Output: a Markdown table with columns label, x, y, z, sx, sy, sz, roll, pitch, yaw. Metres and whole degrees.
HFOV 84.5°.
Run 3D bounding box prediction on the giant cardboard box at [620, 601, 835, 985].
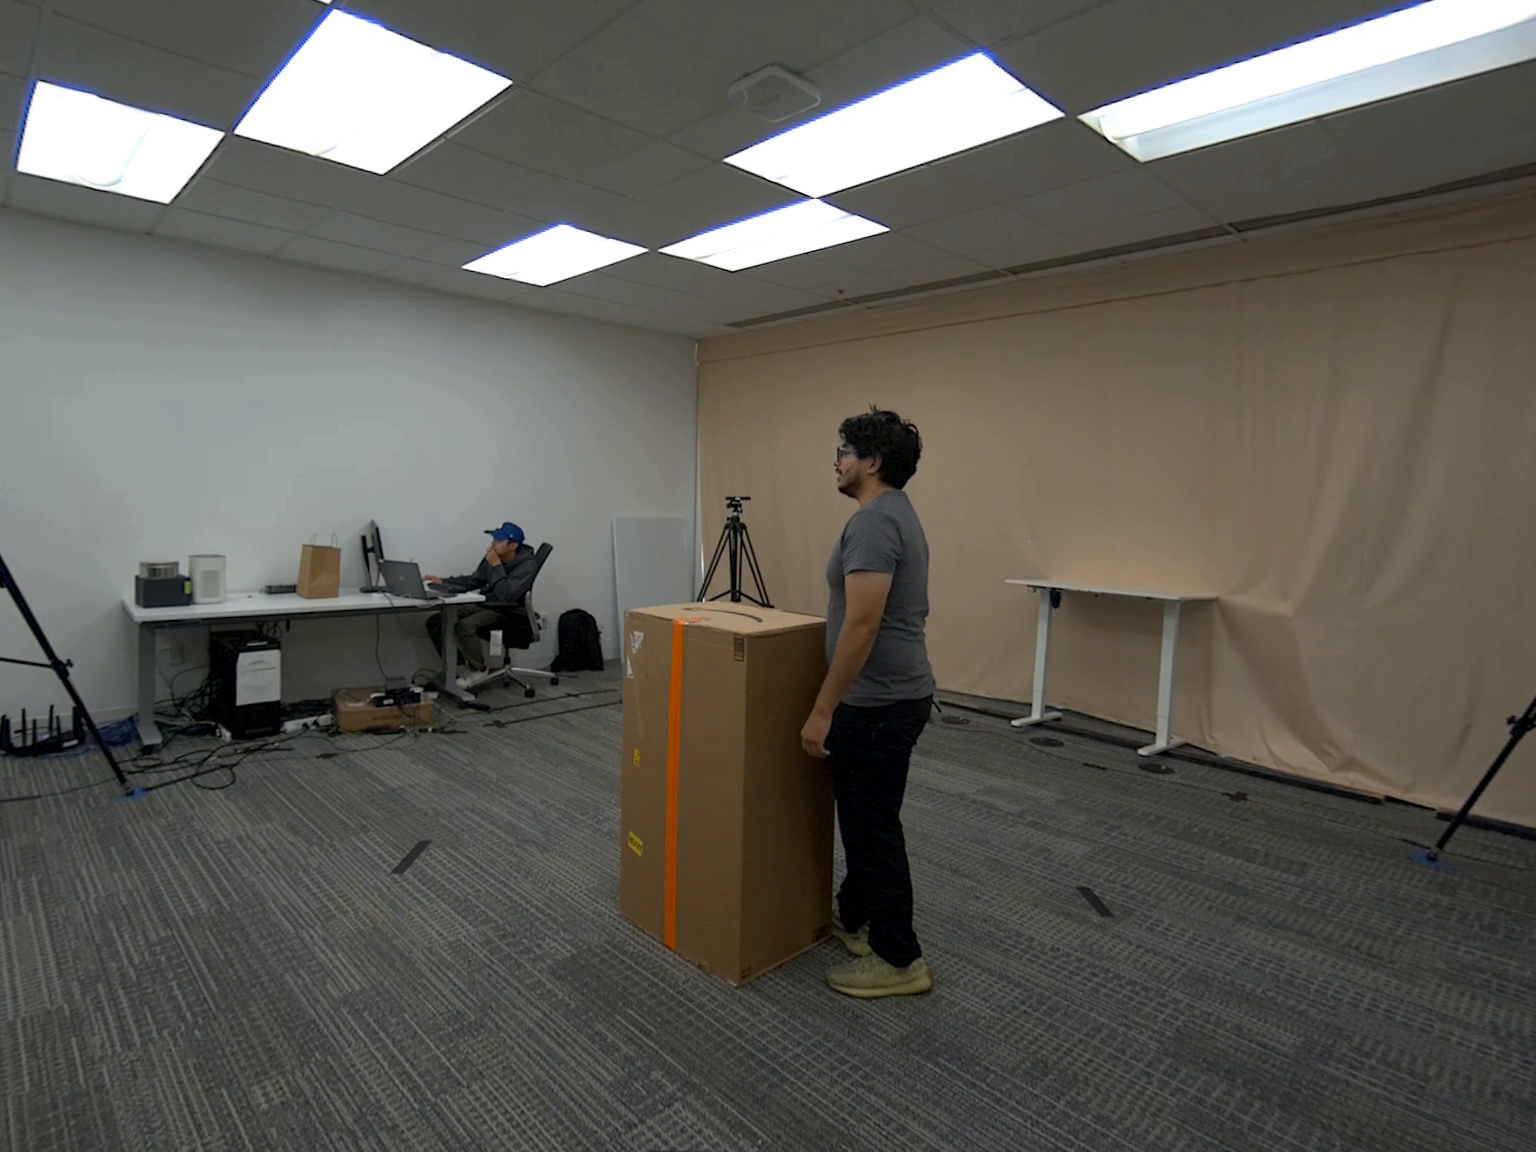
| label | x | y | z | sx | sy | sz | roll | pitch | yaw |
| --- | --- | --- | --- | --- | --- | --- | --- | --- | --- |
| giant cardboard box | -0.143 | 0.638 | 2.712 | 0.436 | 1.025 | 0.599 | -1 | 4 | -45 |
